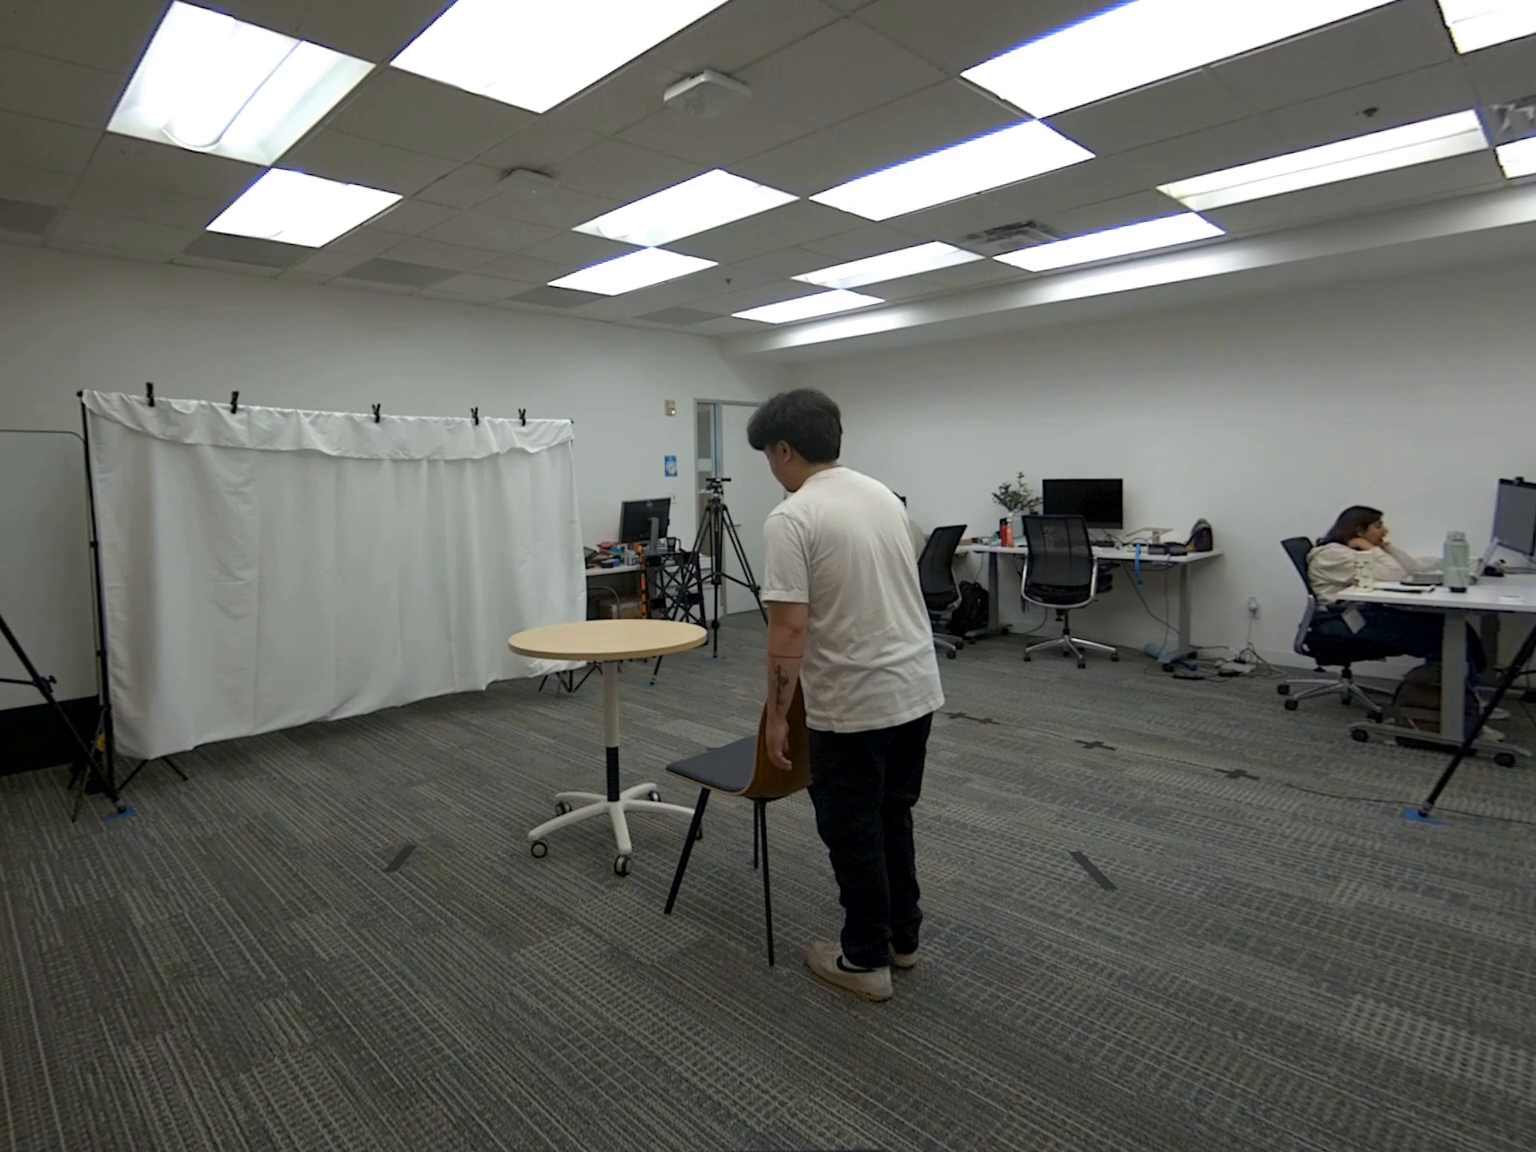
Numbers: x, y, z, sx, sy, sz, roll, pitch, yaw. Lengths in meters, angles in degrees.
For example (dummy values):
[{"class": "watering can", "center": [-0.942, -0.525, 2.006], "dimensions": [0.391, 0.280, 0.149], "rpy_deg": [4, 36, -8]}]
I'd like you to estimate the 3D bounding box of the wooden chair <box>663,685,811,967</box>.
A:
[{"class": "wooden chair", "center": [-0.029, 0.655, 2.735], "dimensions": [0.540, 0.872, 0.466], "rpy_deg": [9, 10, 42]}]
